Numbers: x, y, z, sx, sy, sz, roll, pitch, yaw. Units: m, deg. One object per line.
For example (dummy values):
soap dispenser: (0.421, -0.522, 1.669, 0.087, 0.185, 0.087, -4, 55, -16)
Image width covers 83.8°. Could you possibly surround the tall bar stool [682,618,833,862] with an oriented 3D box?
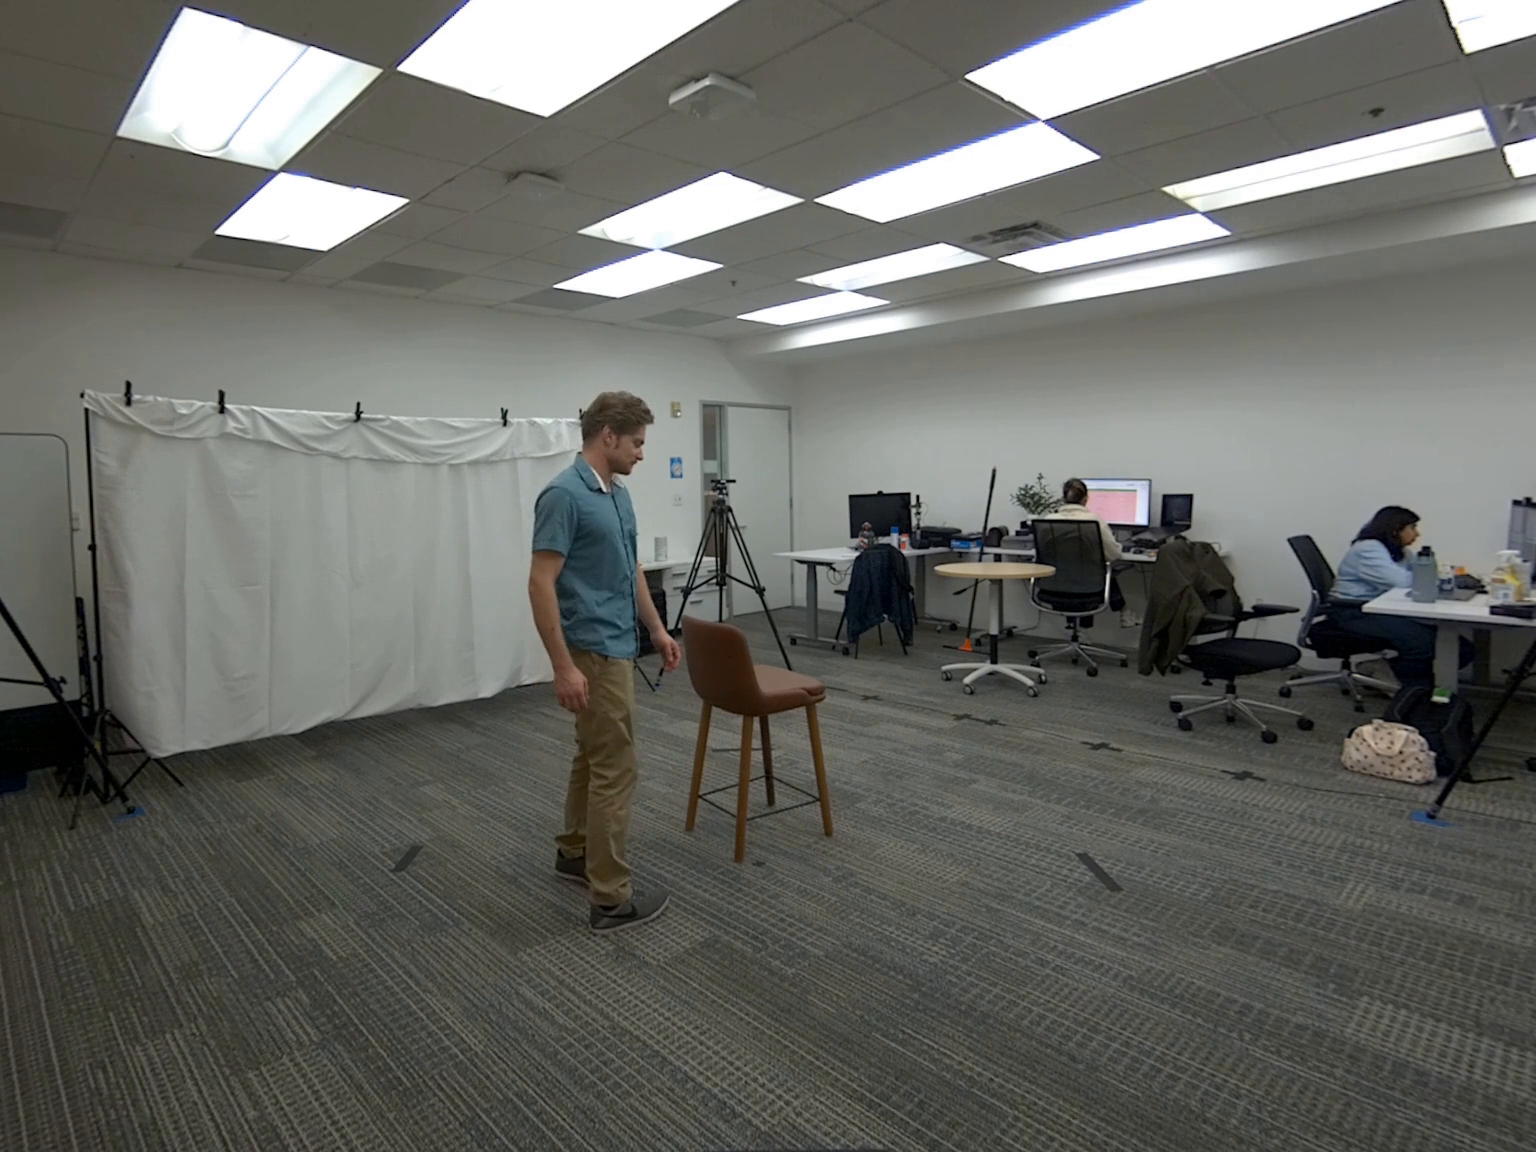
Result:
tall bar stool: (-0.054, 0.584, 3.362, 0.456, 0.885, 0.470, -6, 7, -35)
